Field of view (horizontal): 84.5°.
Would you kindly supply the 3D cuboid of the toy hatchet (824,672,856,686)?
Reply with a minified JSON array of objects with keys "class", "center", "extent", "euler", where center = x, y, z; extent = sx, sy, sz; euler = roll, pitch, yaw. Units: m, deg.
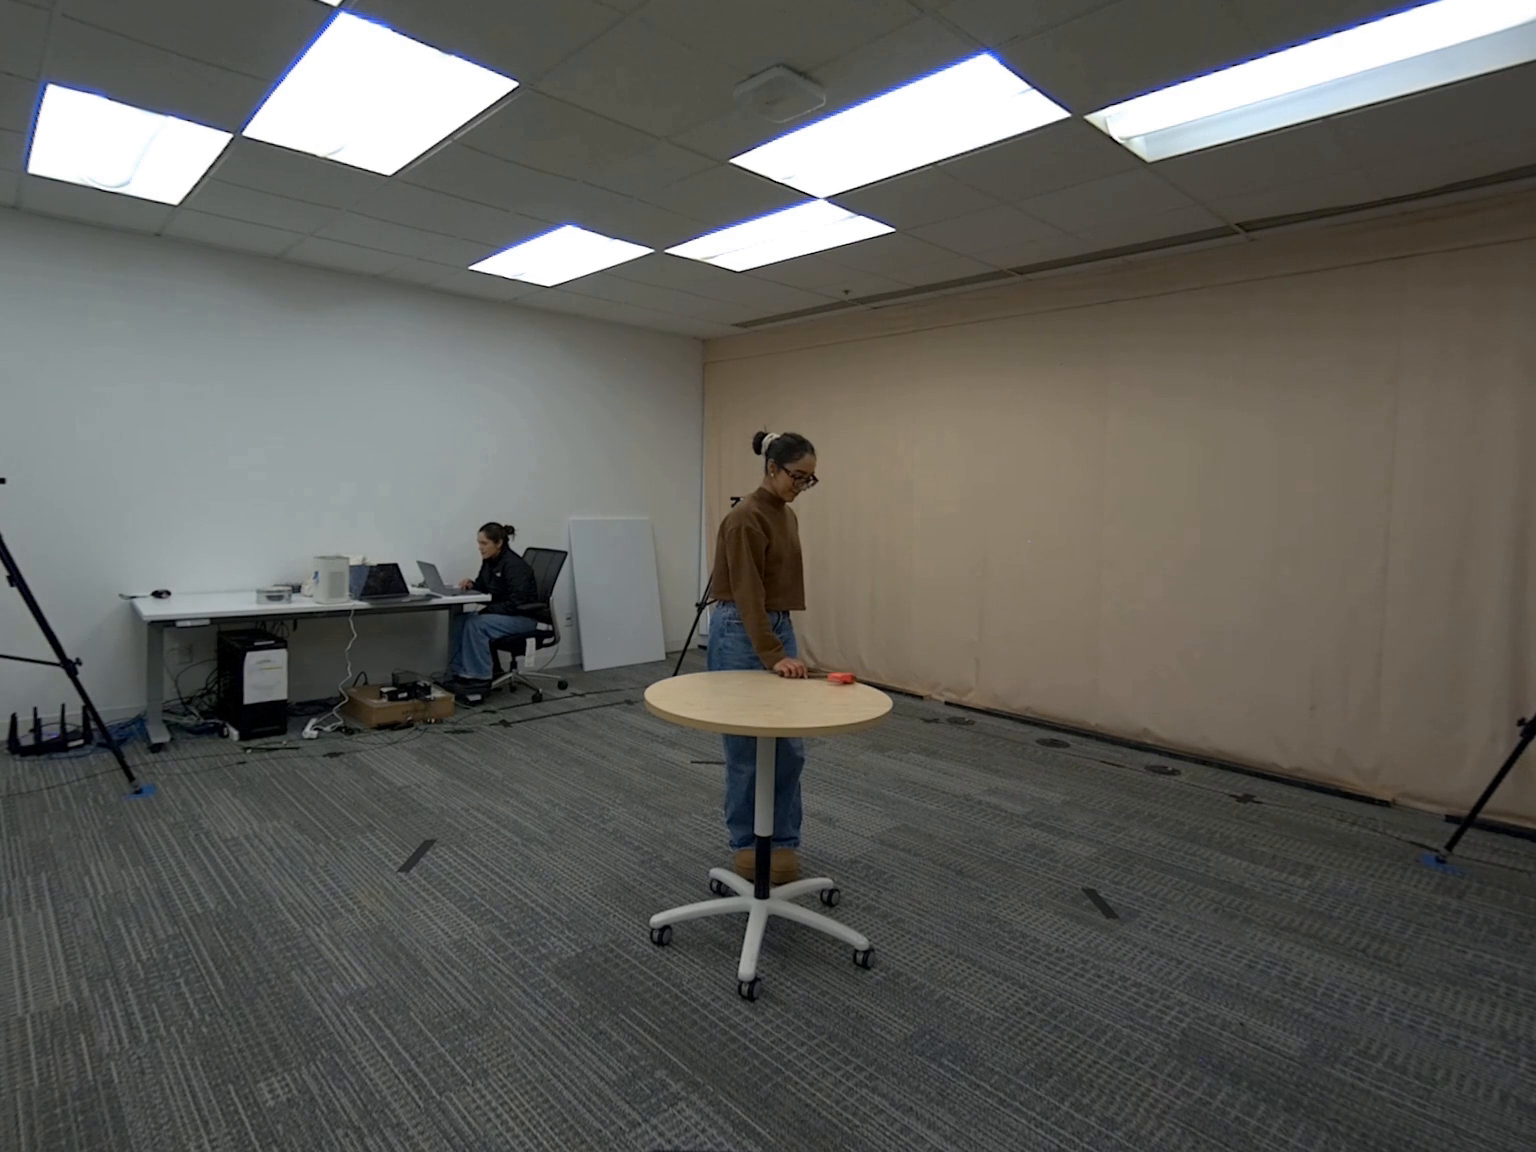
[{"class":"toy hatchet","center":[0.192,0.344,2.900],"extent":[0.128,0.029,0.276],"euler":[1,-2,-43]}]
